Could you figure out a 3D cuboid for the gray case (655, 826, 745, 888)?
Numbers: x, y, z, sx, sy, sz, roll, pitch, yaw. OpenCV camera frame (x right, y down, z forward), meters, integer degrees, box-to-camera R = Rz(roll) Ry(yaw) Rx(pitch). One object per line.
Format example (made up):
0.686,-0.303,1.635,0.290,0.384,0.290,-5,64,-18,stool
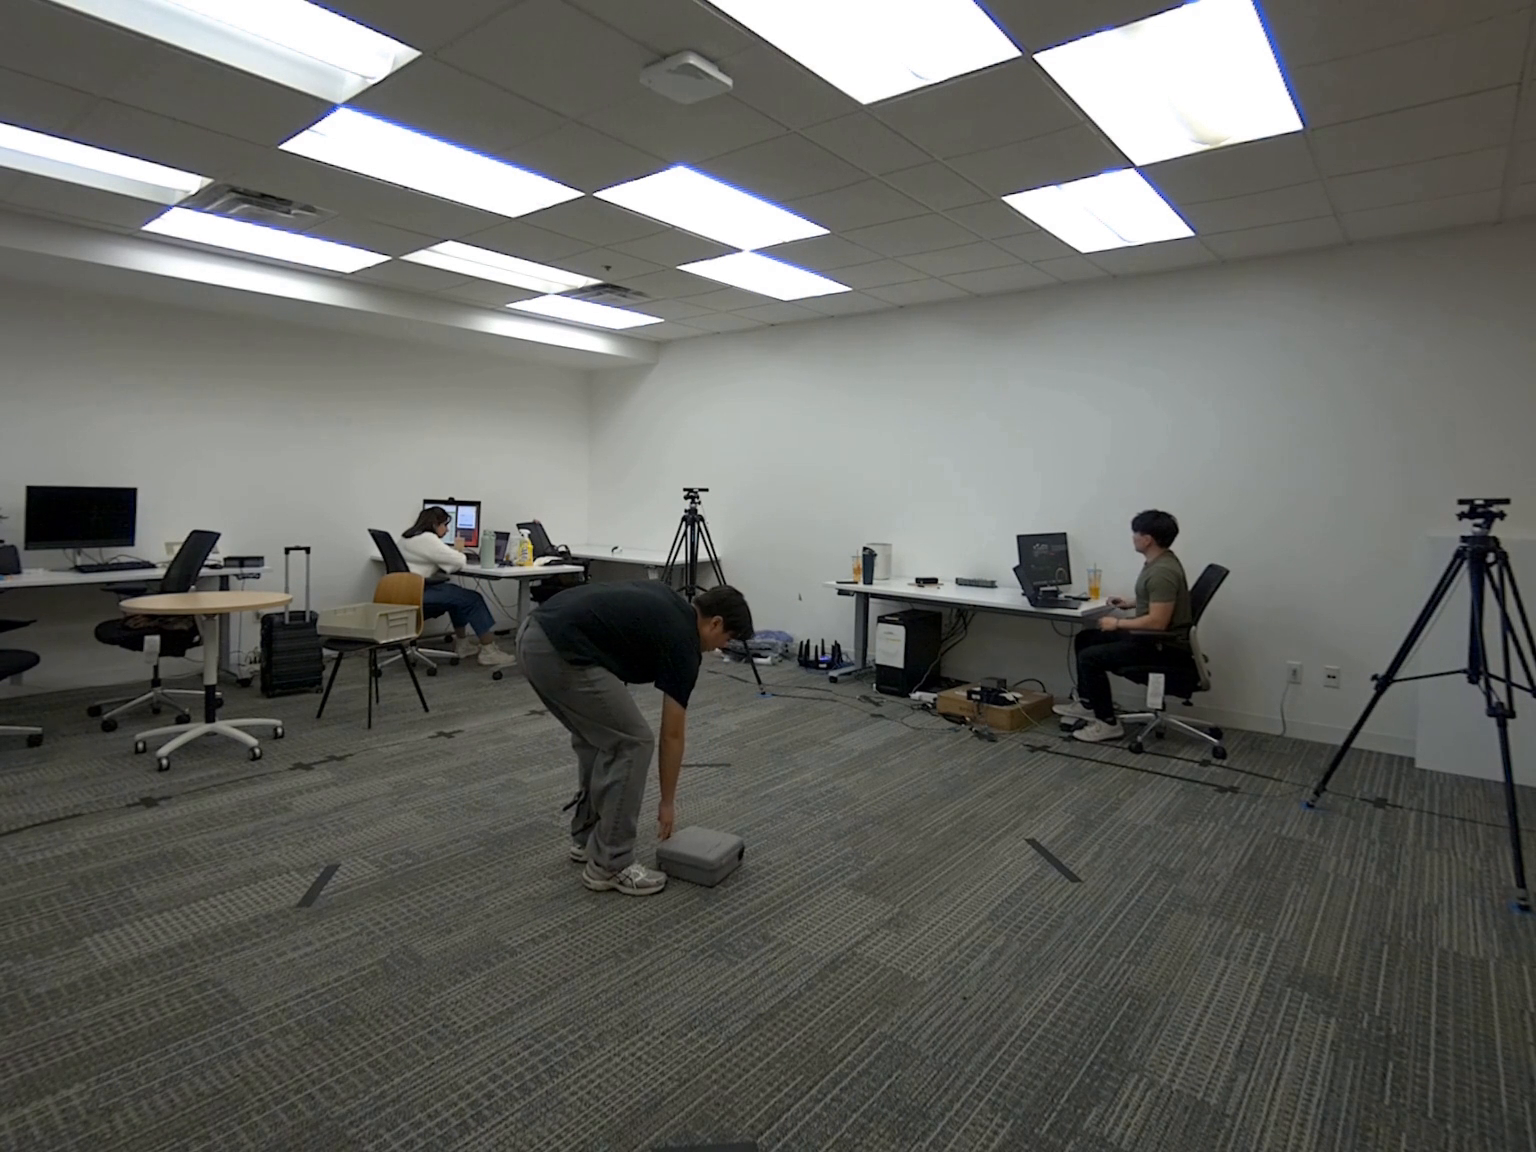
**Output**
-0.267,1.017,3.112,0.295,0.103,0.257,3,6,28,gray case
